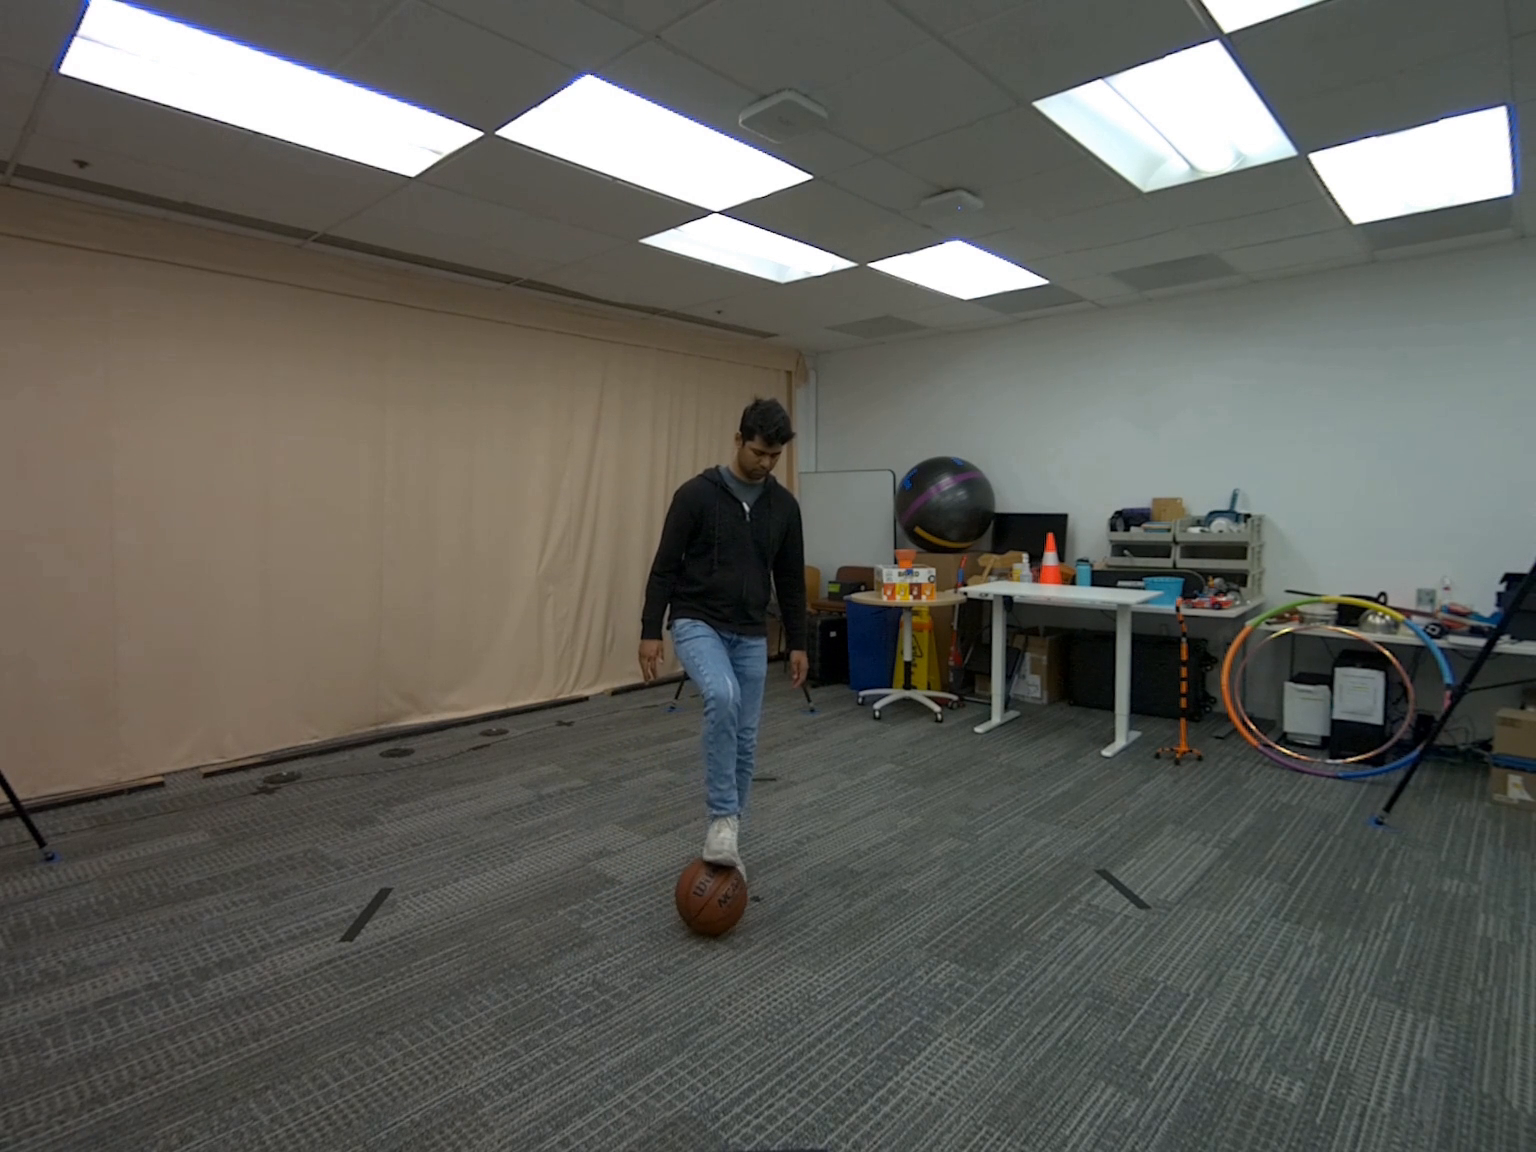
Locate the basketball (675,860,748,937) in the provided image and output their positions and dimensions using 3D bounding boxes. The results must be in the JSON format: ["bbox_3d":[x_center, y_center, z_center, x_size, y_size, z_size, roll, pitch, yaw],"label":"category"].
[{"bbox_3d":[-0.192,1.041,2.764,0.236,0.235,0.237,0,4,-2],"label":"basketball"}]
